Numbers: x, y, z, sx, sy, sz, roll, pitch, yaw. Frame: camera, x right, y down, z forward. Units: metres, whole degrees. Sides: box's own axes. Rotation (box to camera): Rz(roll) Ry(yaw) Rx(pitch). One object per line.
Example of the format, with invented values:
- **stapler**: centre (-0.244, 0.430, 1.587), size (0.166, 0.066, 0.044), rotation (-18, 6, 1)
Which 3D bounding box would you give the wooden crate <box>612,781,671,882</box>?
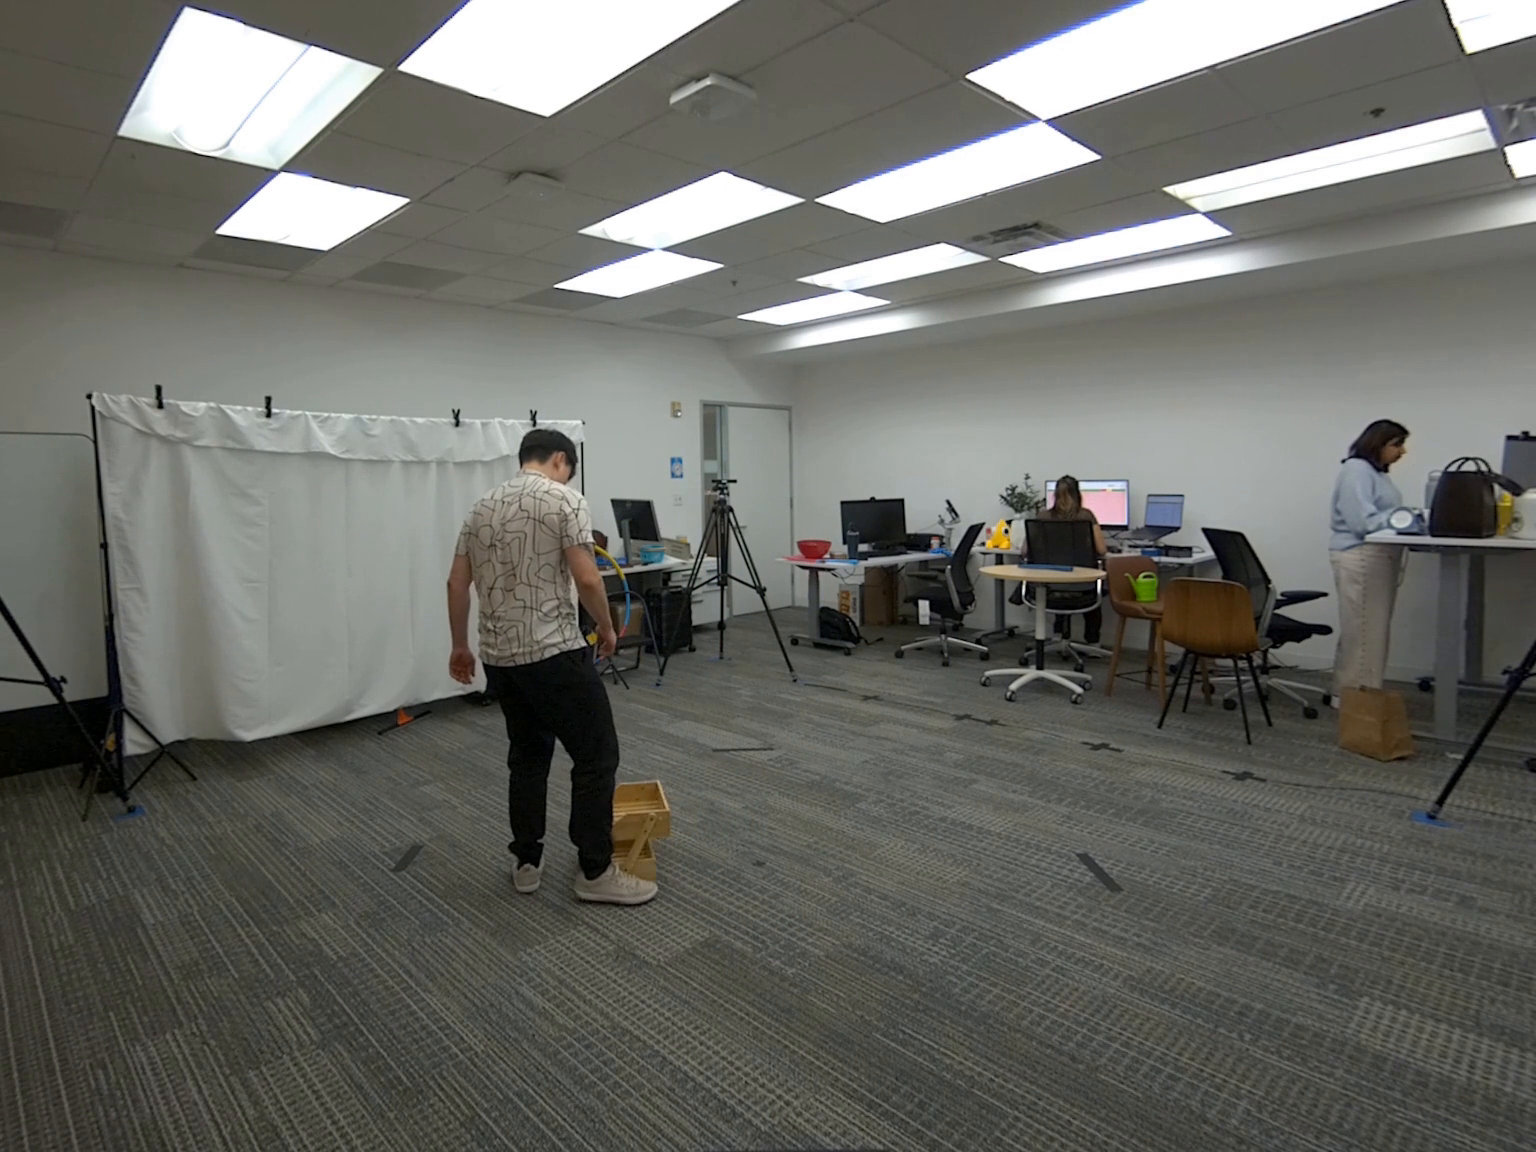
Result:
- **wooden crate**: centre (-0.522, 0.925, 3.079), size (0.299, 0.272, 0.329), rotation (-3, 6, -12)
